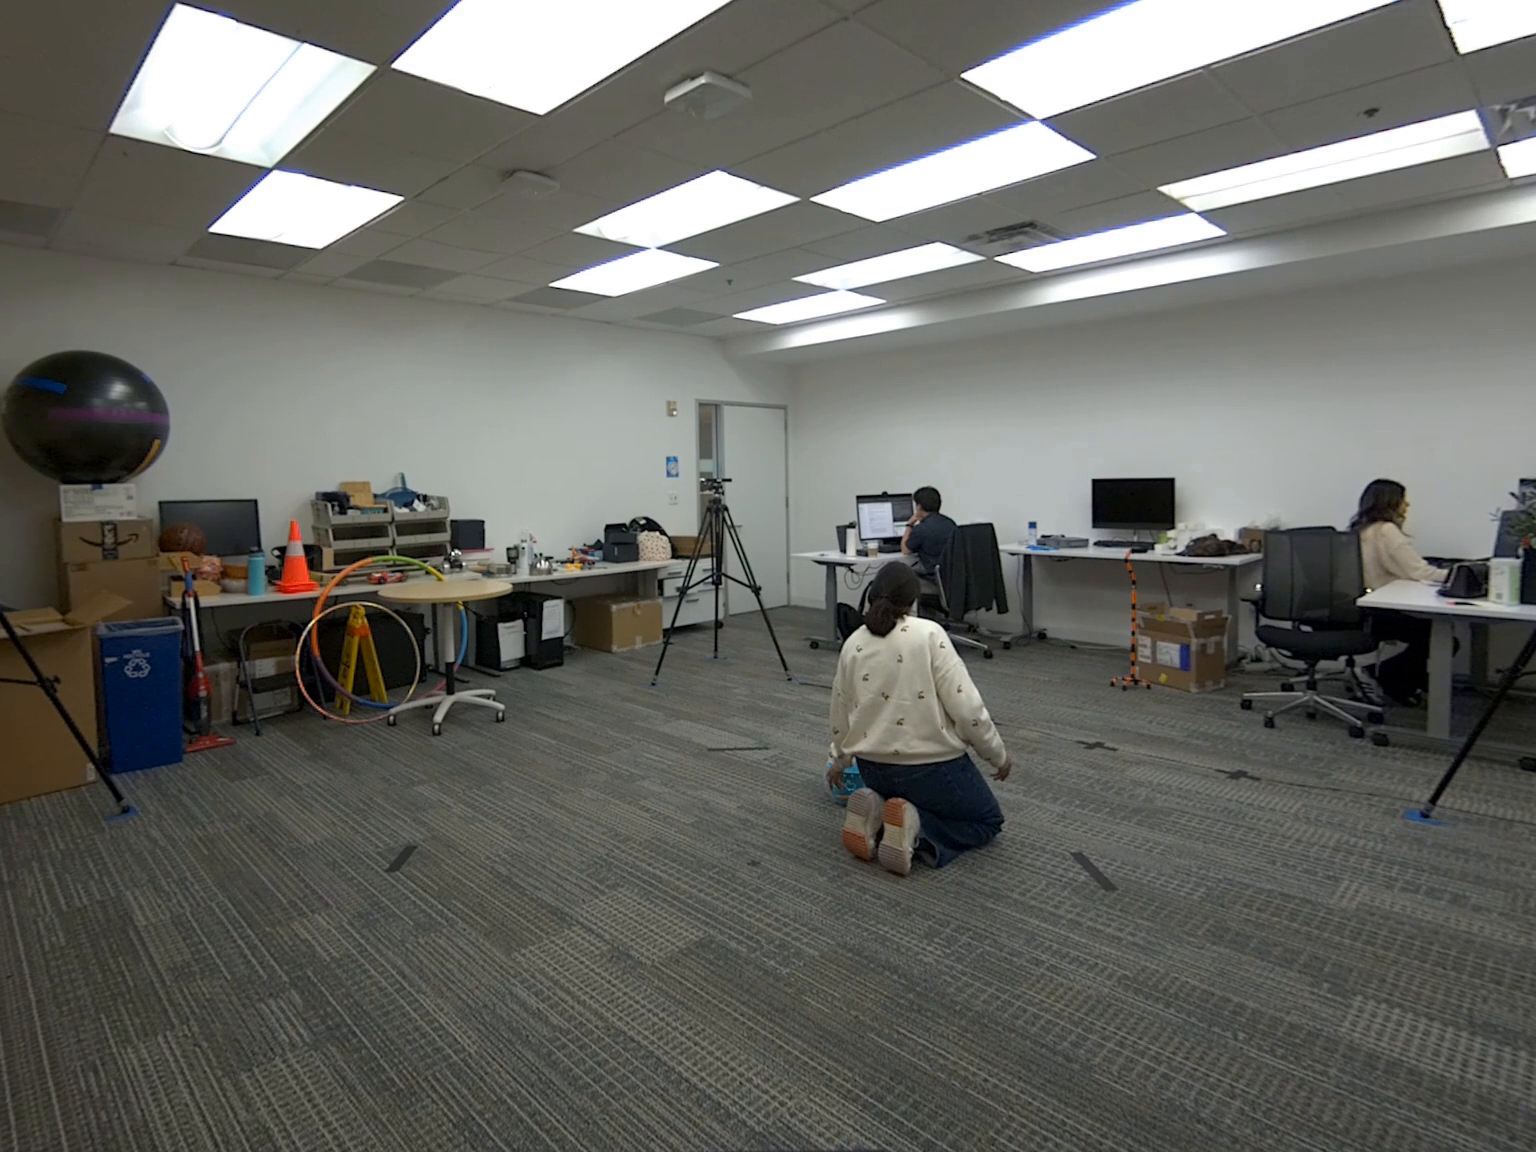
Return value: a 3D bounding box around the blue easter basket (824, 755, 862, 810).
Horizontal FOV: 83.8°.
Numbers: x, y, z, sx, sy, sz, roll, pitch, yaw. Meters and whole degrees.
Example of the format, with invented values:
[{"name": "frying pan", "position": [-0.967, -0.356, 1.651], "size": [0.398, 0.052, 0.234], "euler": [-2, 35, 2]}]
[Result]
[{"name": "blue easter basket", "position": [0.380, 0.889, 3.717], "size": [0.243, 0.155, 0.245], "euler": [-1, 5, -2]}]
